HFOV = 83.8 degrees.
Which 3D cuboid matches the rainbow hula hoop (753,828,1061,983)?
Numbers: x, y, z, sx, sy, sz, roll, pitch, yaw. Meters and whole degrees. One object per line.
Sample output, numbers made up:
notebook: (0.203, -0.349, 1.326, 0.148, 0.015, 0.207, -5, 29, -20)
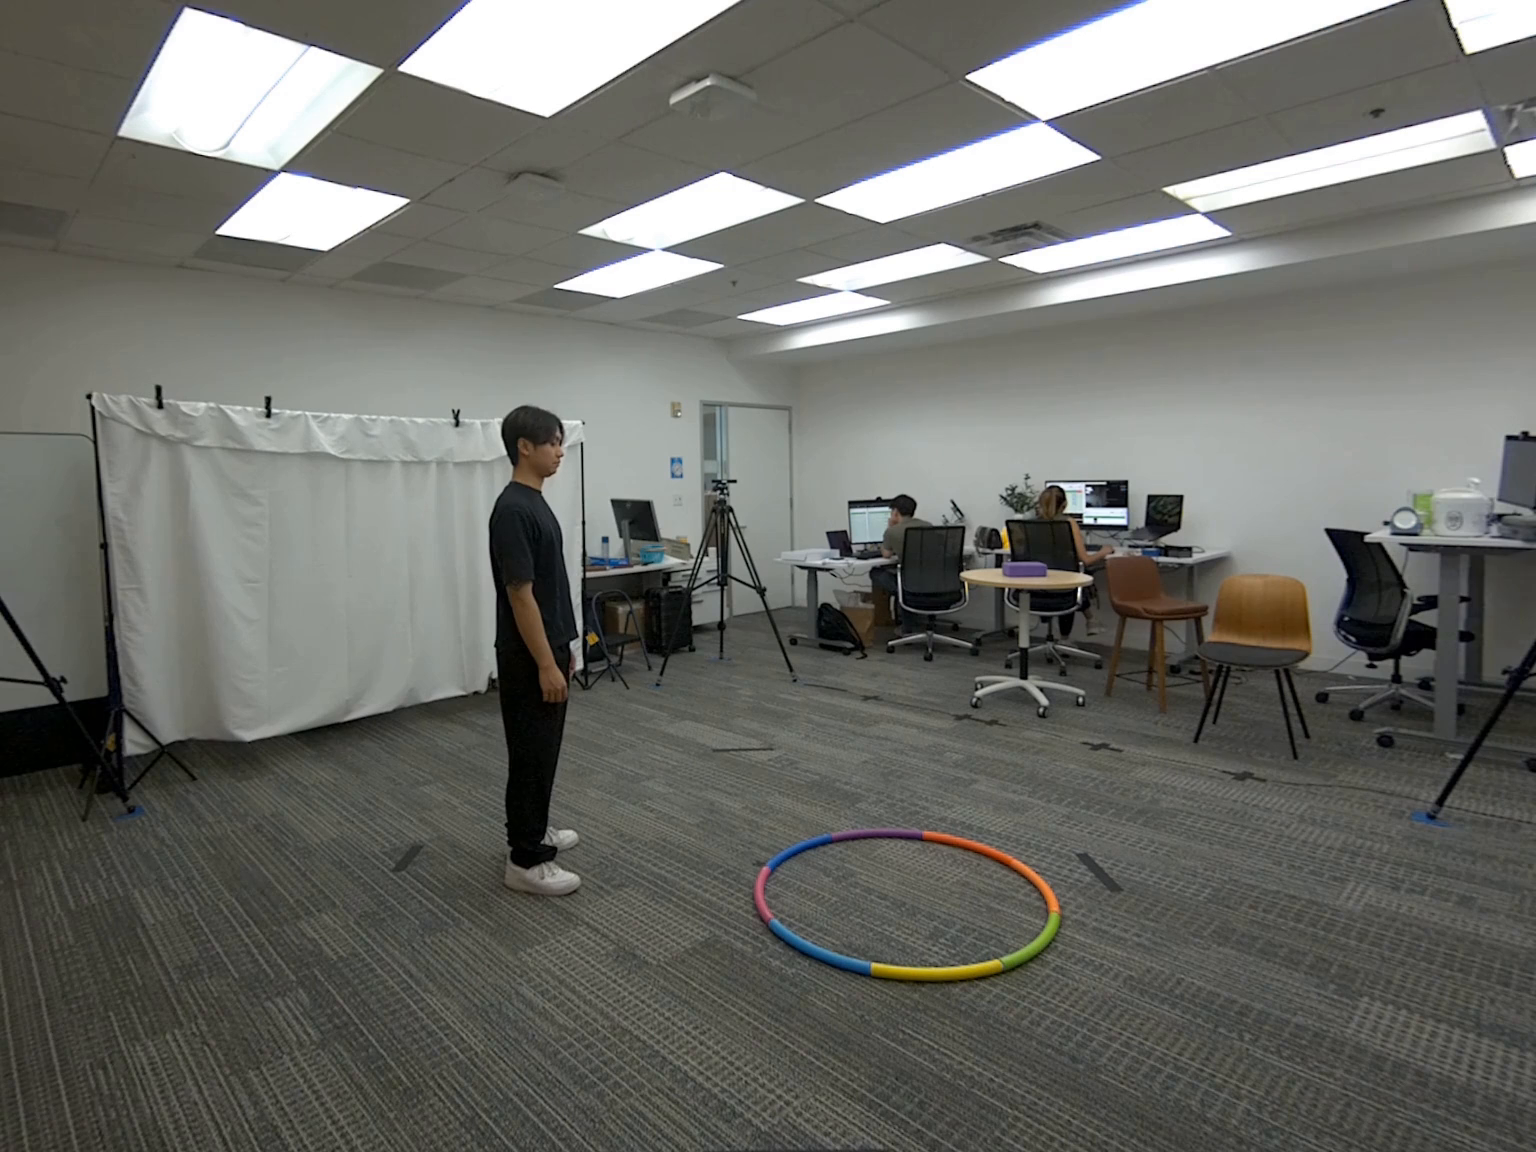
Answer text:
rainbow hula hoop: (0.442, 1.038, 2.845, 0.978, 0.035, 0.984, -2, 7, -2)
